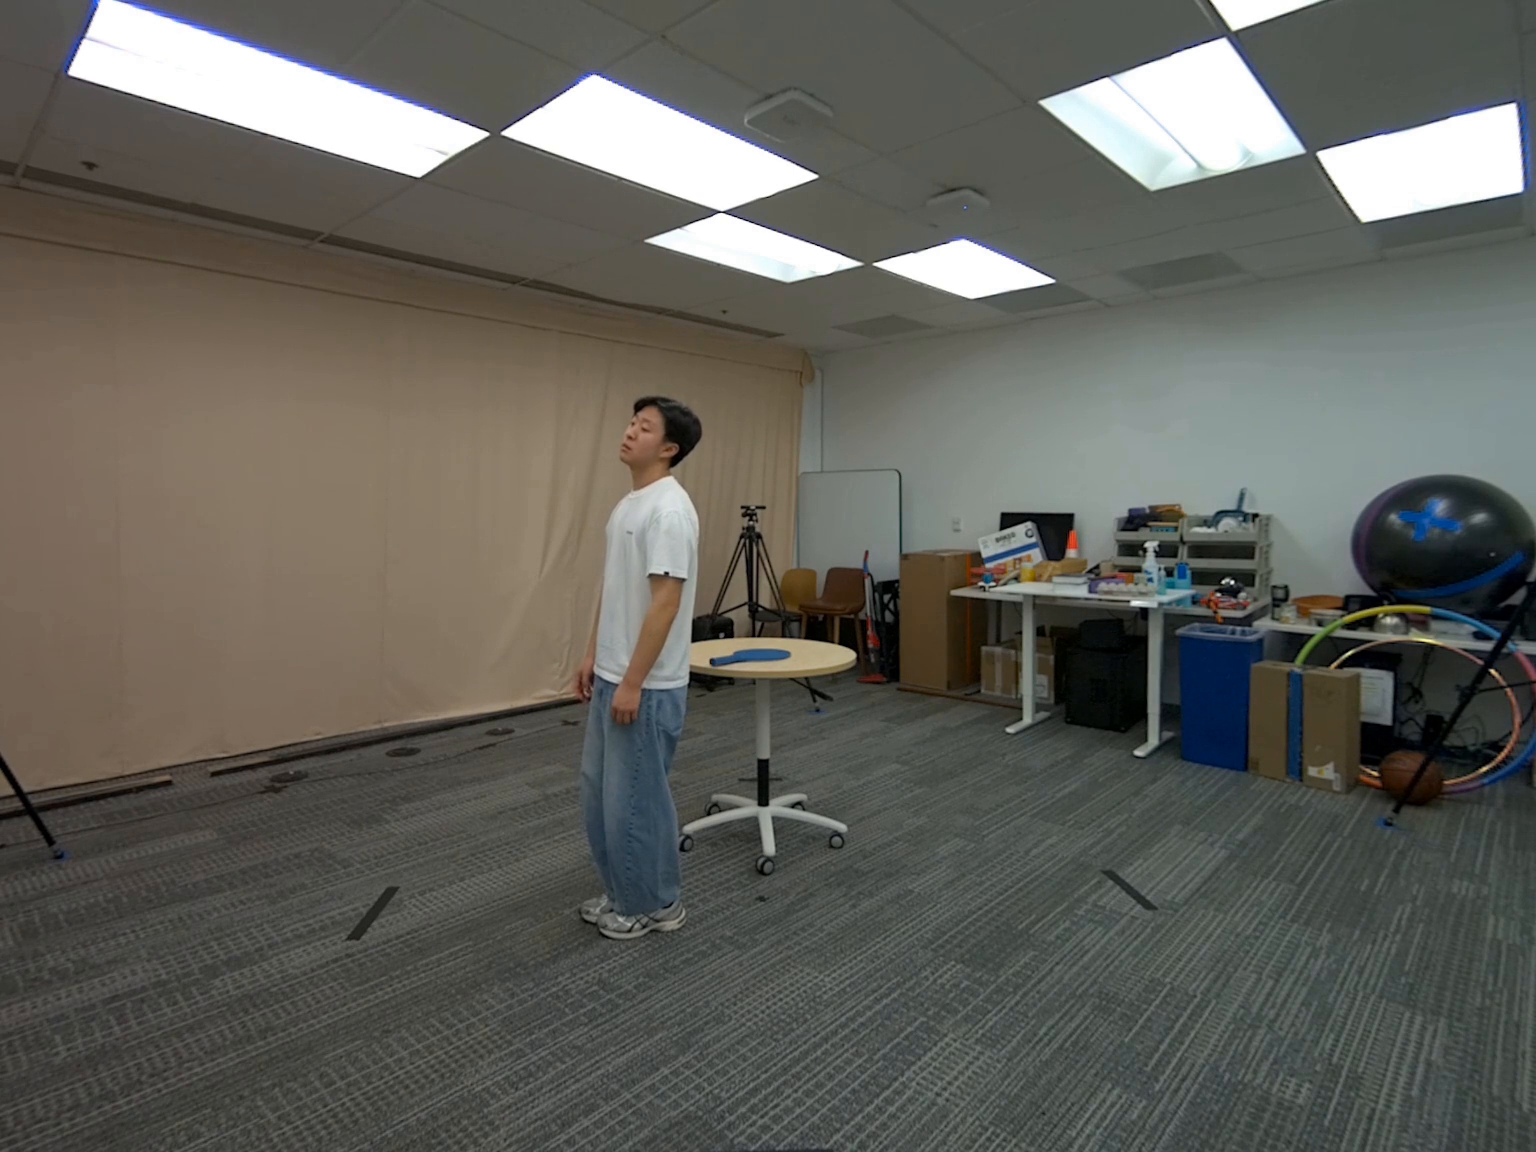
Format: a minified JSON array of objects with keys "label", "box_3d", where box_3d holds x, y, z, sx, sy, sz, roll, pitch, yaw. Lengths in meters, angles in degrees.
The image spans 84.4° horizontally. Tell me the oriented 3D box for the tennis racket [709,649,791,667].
[{"label":"tennis racket","box_3d":[-0.078,0.322,3.350,0.221,0.032,0.419,4,5,42]}]
